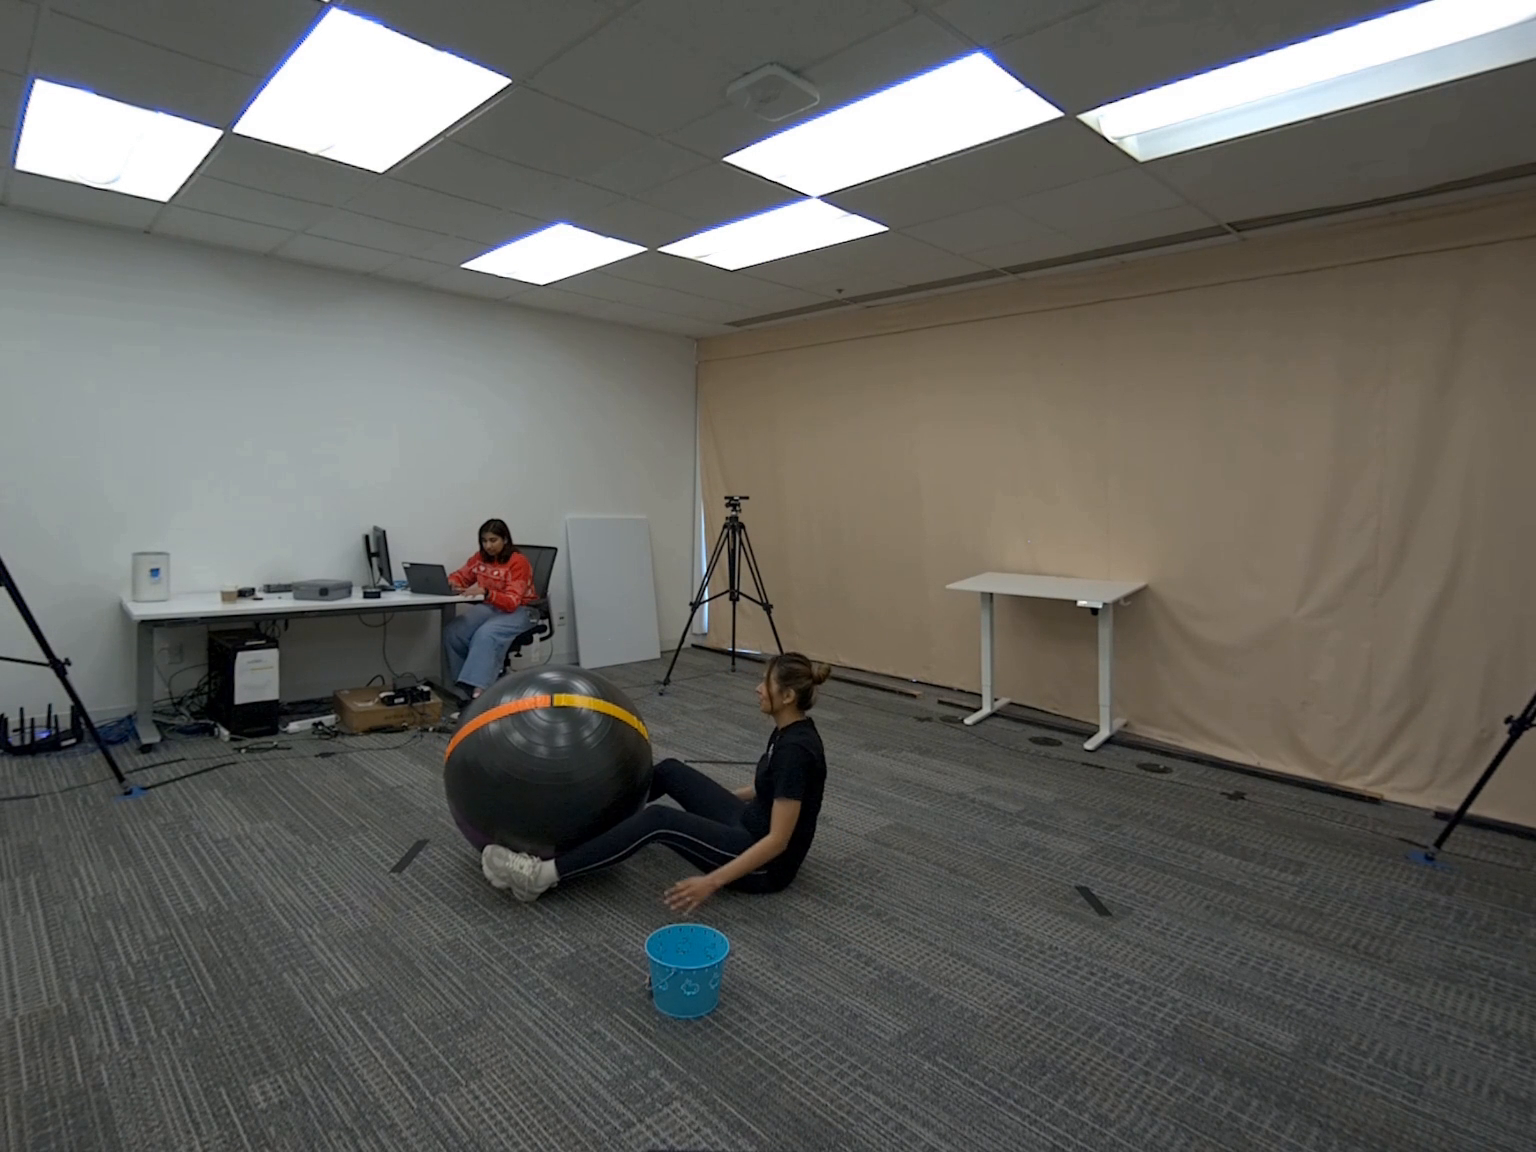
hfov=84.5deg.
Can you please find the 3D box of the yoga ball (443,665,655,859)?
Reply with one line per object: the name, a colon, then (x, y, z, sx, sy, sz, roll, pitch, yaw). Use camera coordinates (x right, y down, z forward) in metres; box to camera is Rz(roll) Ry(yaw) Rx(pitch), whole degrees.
yoga ball: (-0.826, 0.717, 3.132, 0.757, 0.756, 0.761, 1, 4, -1)
